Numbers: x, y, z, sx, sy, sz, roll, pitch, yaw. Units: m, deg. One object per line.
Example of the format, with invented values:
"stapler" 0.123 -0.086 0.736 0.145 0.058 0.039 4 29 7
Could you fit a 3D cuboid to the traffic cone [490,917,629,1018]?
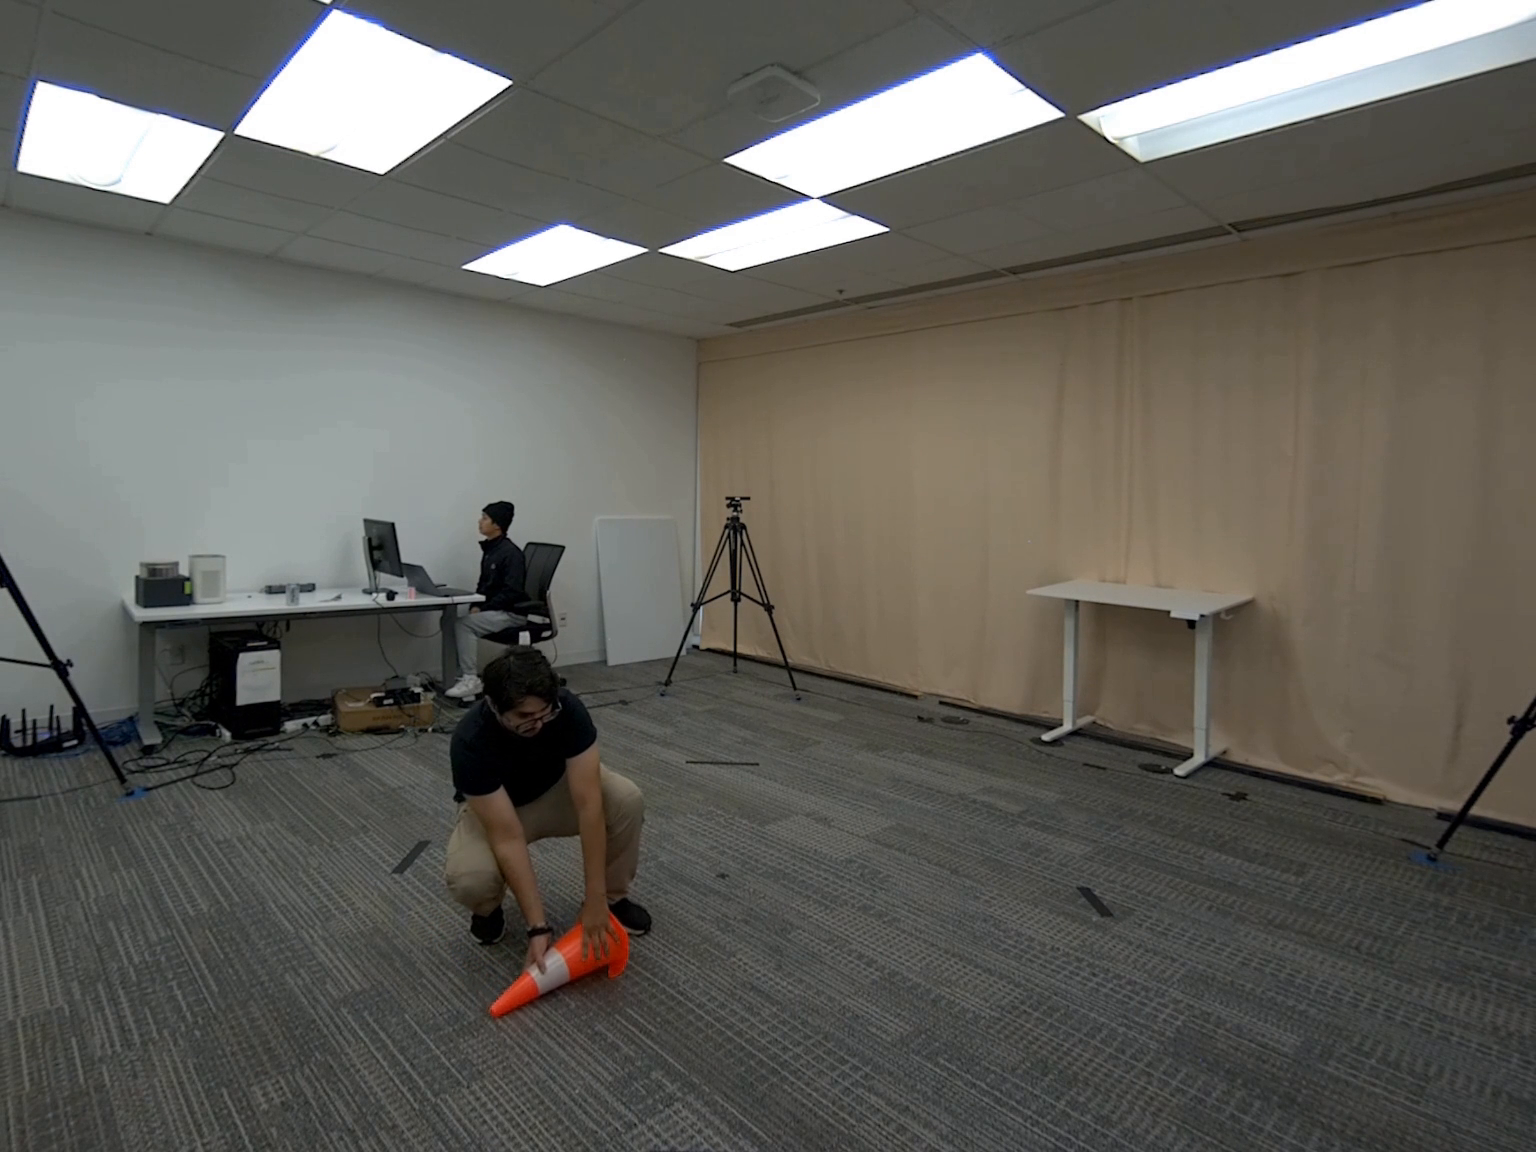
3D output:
"traffic cone" -0.625 1.115 2.343 0.209 0.202 0.379 22 32 36
